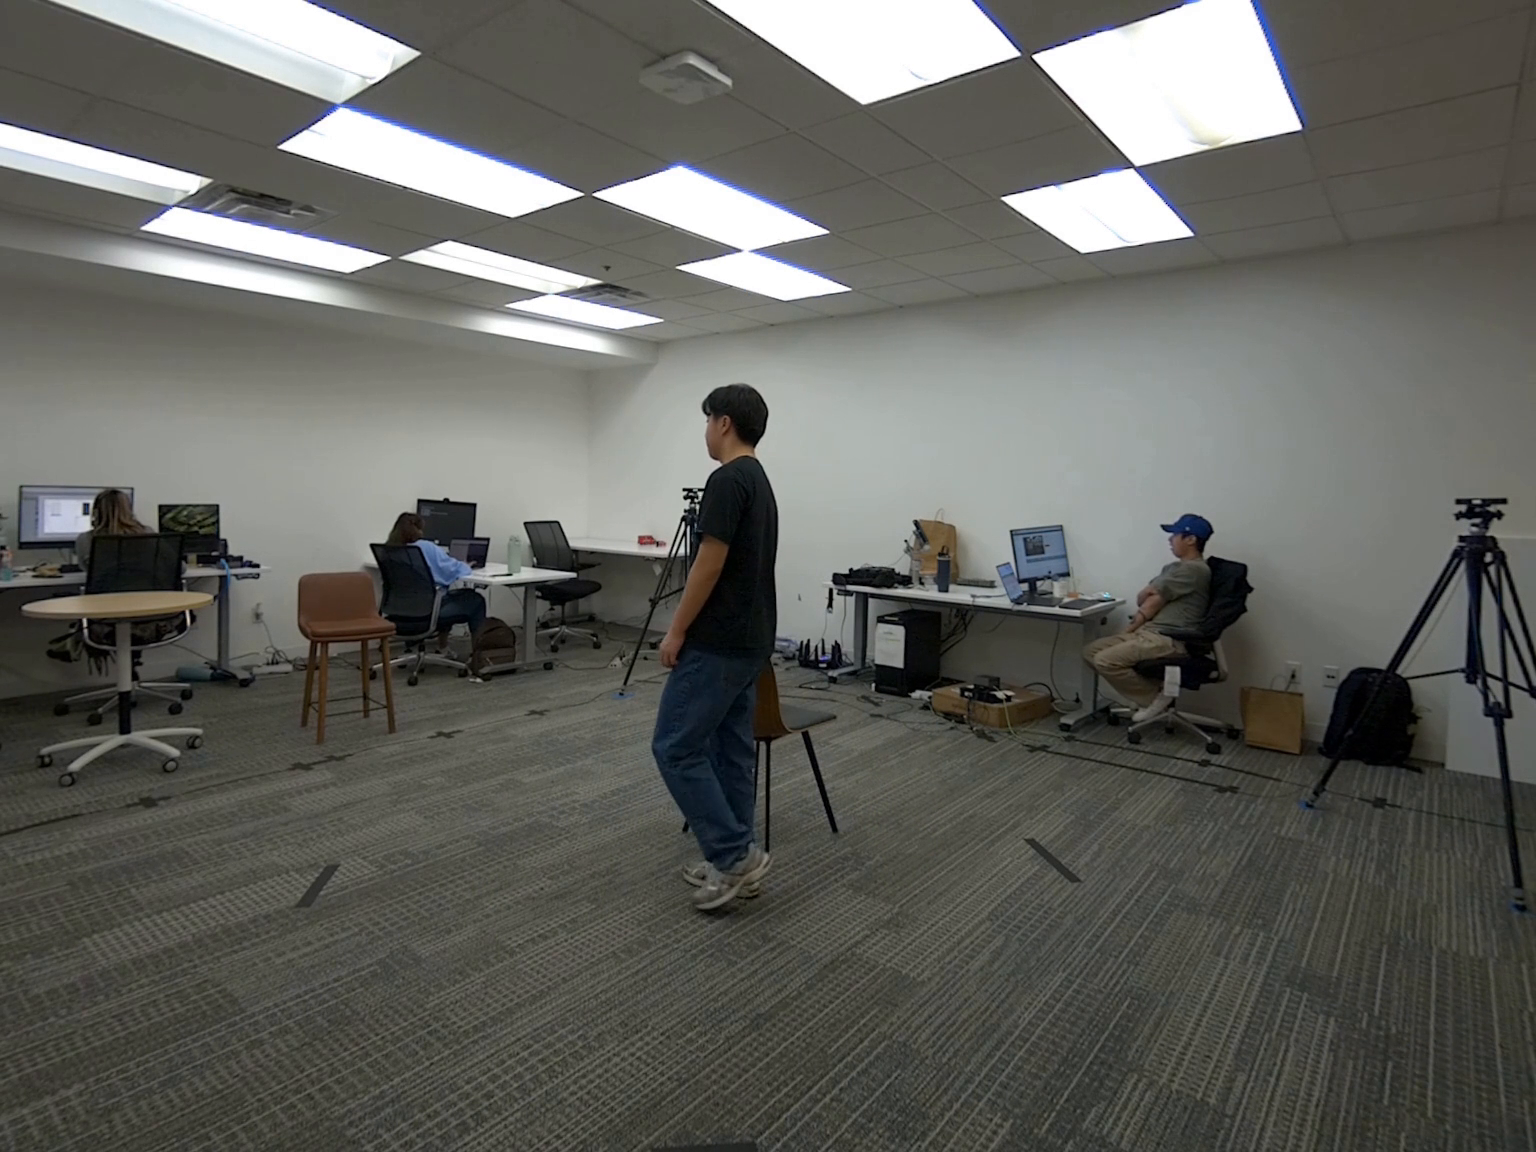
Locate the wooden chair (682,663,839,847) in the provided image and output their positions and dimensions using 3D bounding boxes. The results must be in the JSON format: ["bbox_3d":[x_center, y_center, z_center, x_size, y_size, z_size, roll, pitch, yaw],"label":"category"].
[{"bbox_3d":[-0.027,0.611,3.443,0.494,0.872,0.509,3,8,42],"label":"wooden chair"}]
